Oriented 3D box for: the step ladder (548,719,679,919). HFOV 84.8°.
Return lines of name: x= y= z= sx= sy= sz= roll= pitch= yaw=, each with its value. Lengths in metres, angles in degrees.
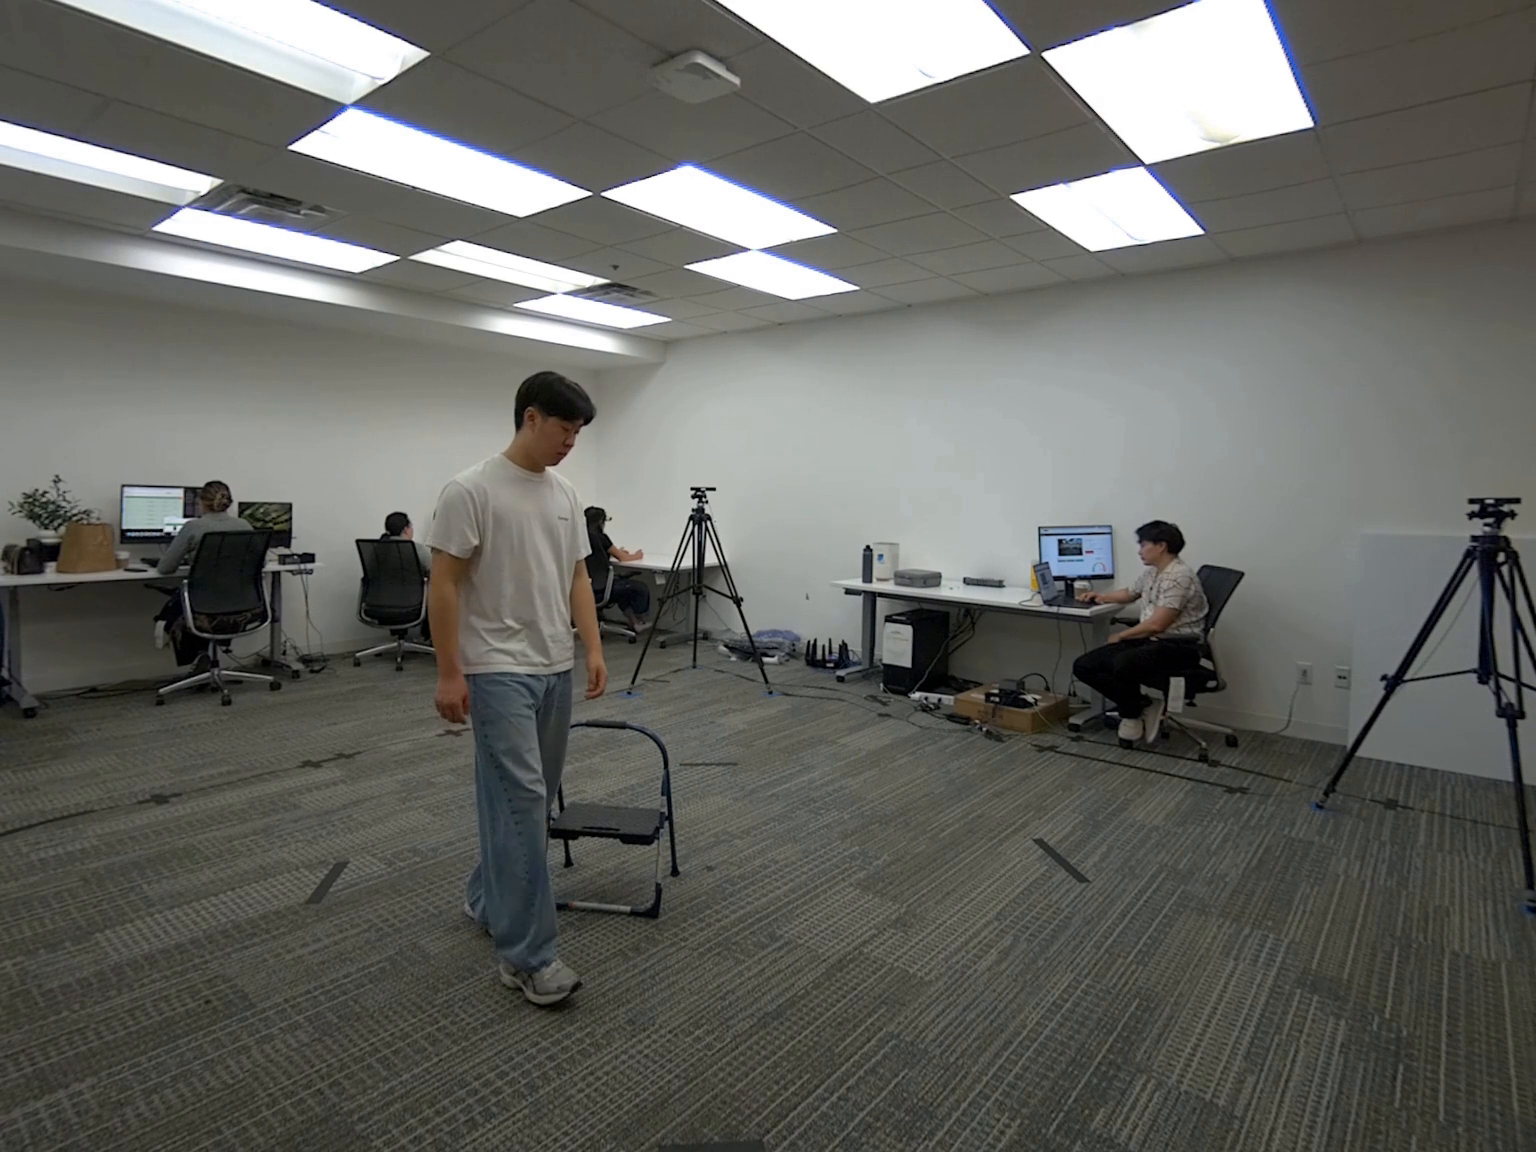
step ladder: x=-0.548 y=0.778 z=2.911 sx=0.434 sy=0.604 sz=0.348 roll=2 pitch=3 yaw=5
